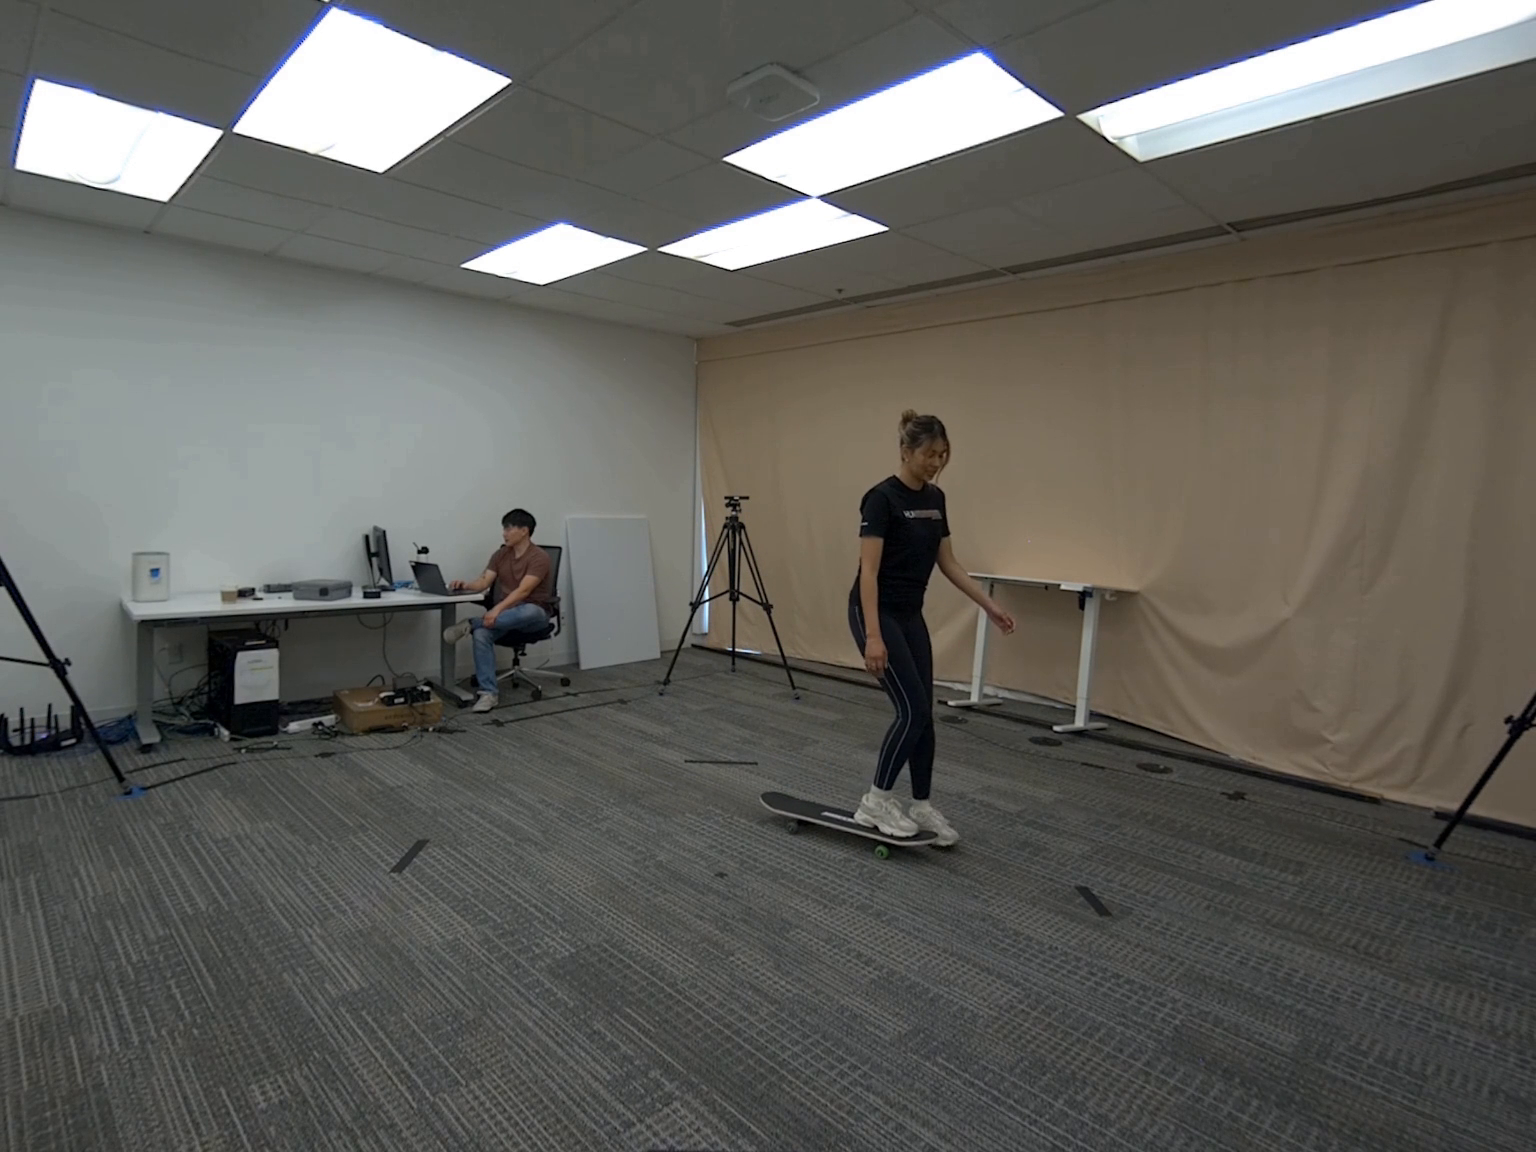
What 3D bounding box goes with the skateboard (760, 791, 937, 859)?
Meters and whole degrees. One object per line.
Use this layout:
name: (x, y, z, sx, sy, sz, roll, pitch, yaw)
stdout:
skateboard: (0.306, 1.033, 3.458, 0.804, 0.110, 0.189, 5, 4, 34)
